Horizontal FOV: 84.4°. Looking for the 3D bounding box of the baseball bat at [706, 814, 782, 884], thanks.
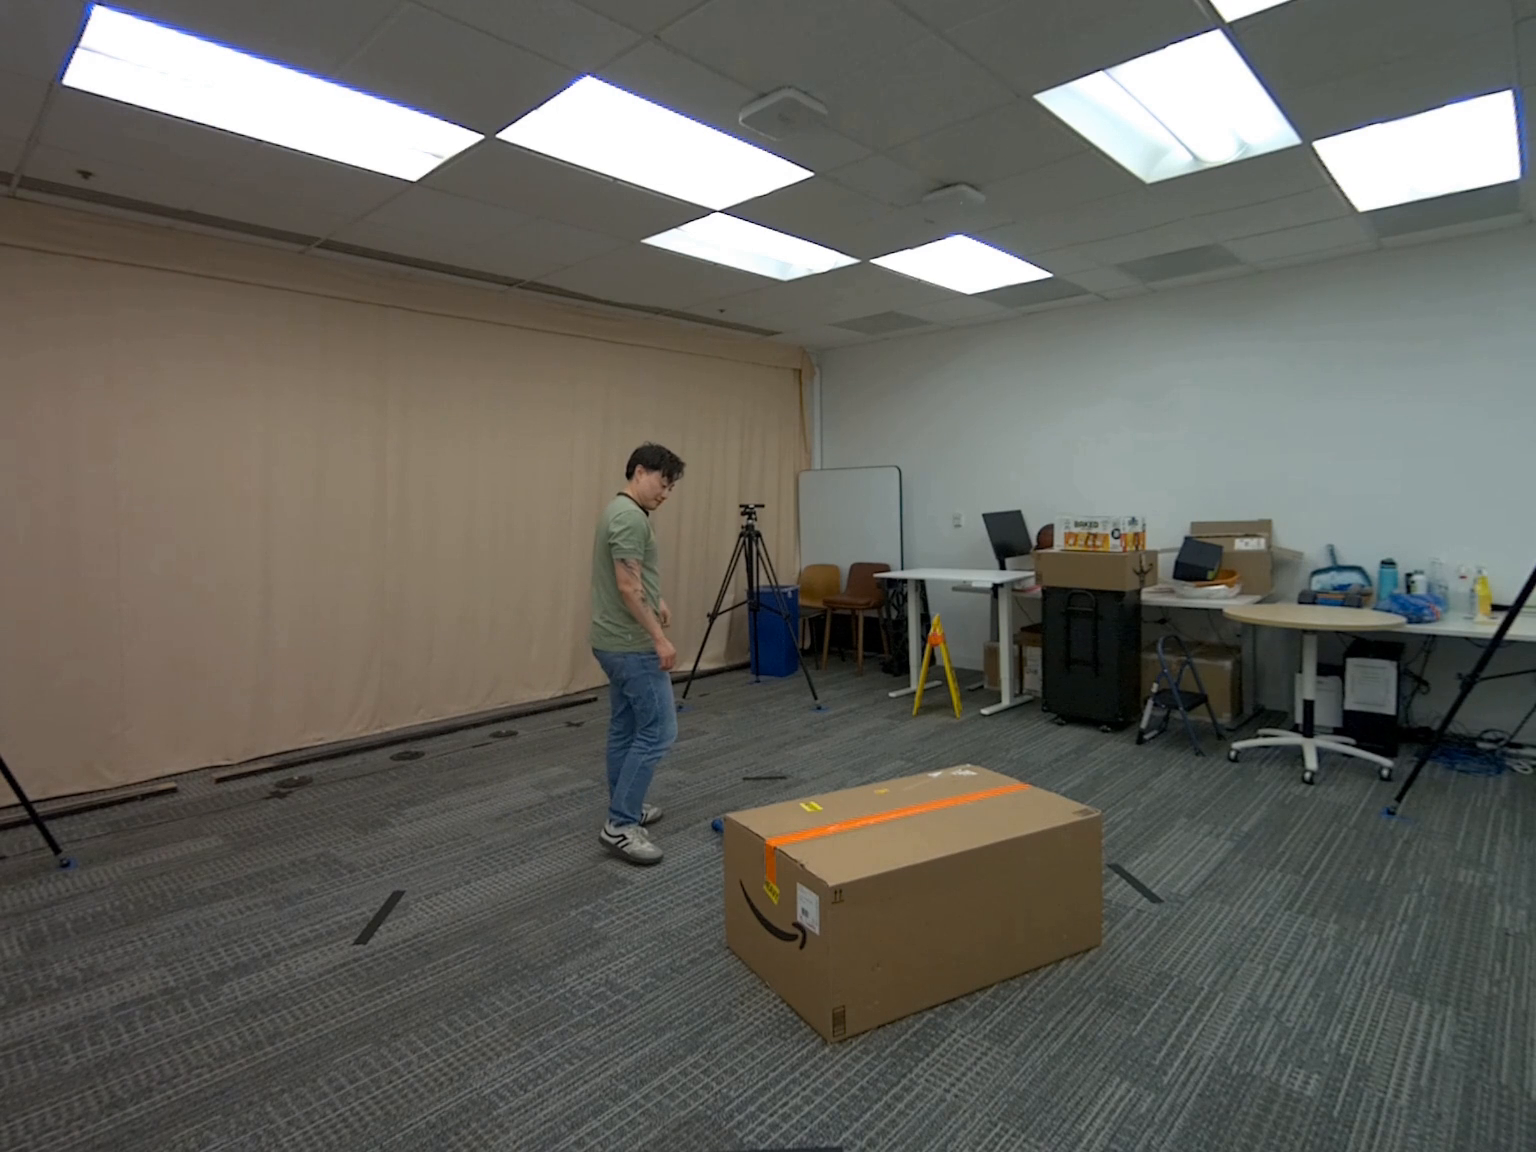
[{"bbox_3d":[-0.109,1.073,3.368,0.087,0.089,0.555,-2,2,-24],"label":"baseball bat"}]
